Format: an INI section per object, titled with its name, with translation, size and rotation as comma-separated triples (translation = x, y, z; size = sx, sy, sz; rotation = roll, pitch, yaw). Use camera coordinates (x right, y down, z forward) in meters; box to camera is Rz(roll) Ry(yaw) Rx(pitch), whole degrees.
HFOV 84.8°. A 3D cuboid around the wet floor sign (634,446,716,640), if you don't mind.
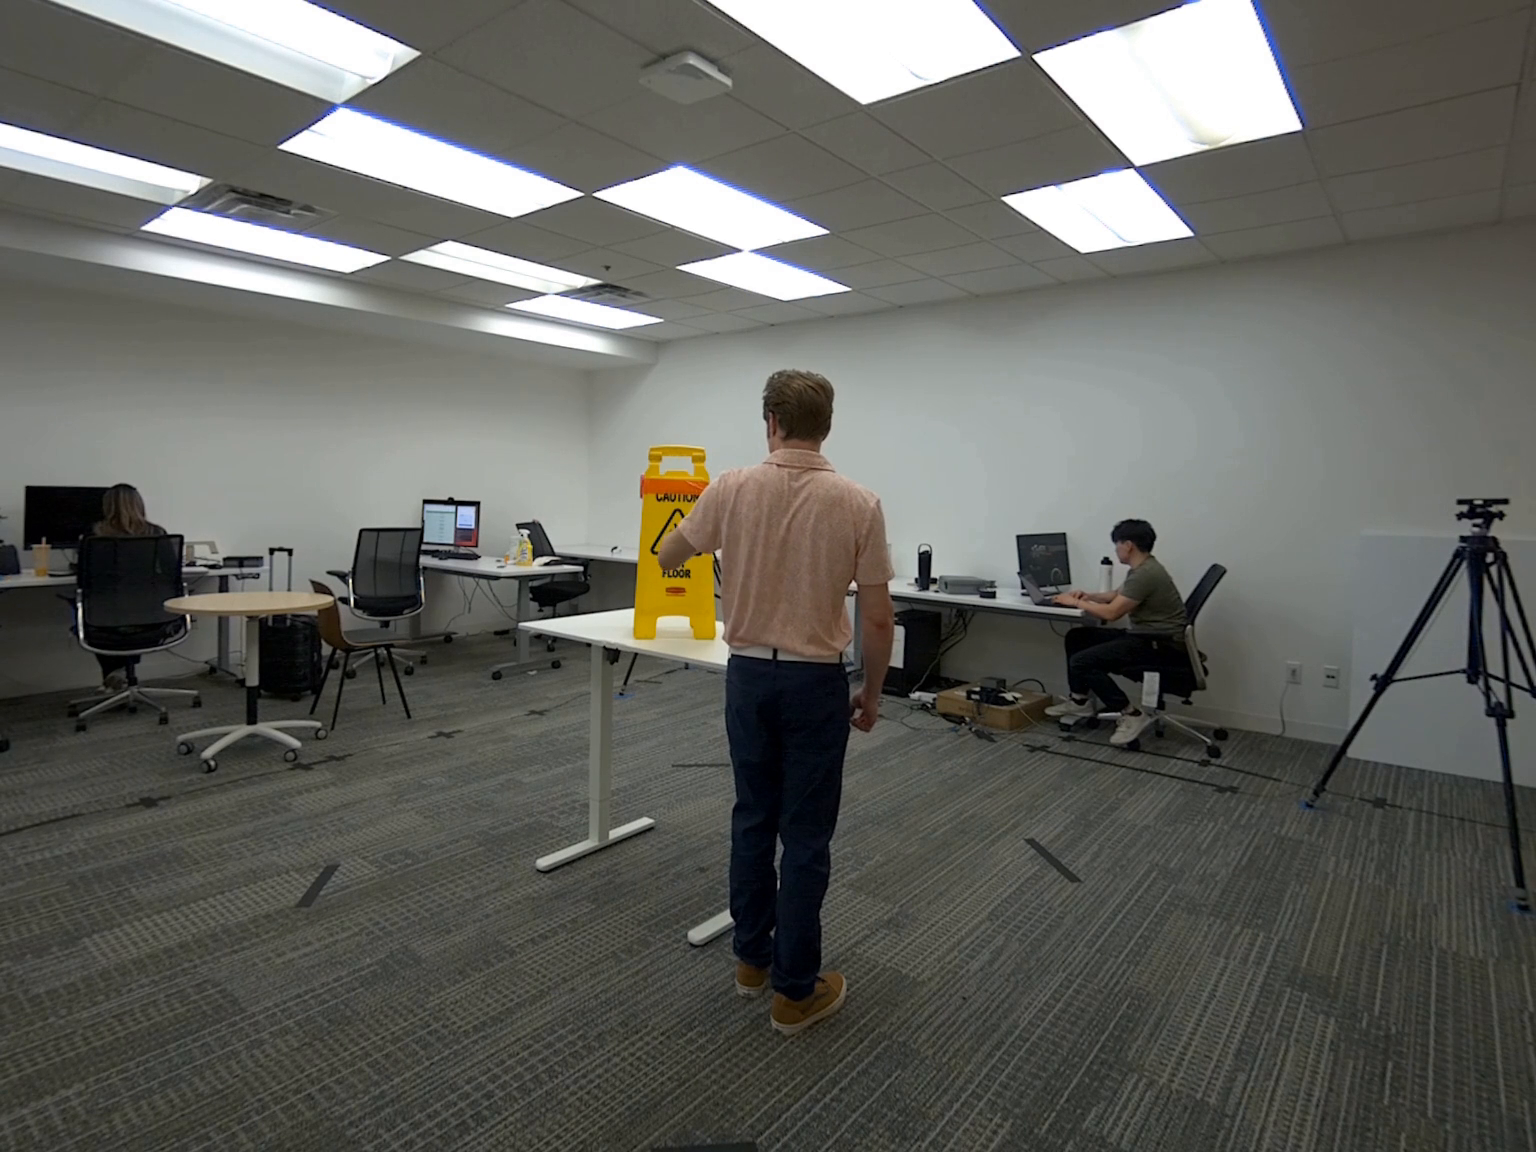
[wet floor sign]
translation = -0.334, -0.125, 2.957
size = 0.280, 0.644, 0.292
rotation = 1, 3, -6
